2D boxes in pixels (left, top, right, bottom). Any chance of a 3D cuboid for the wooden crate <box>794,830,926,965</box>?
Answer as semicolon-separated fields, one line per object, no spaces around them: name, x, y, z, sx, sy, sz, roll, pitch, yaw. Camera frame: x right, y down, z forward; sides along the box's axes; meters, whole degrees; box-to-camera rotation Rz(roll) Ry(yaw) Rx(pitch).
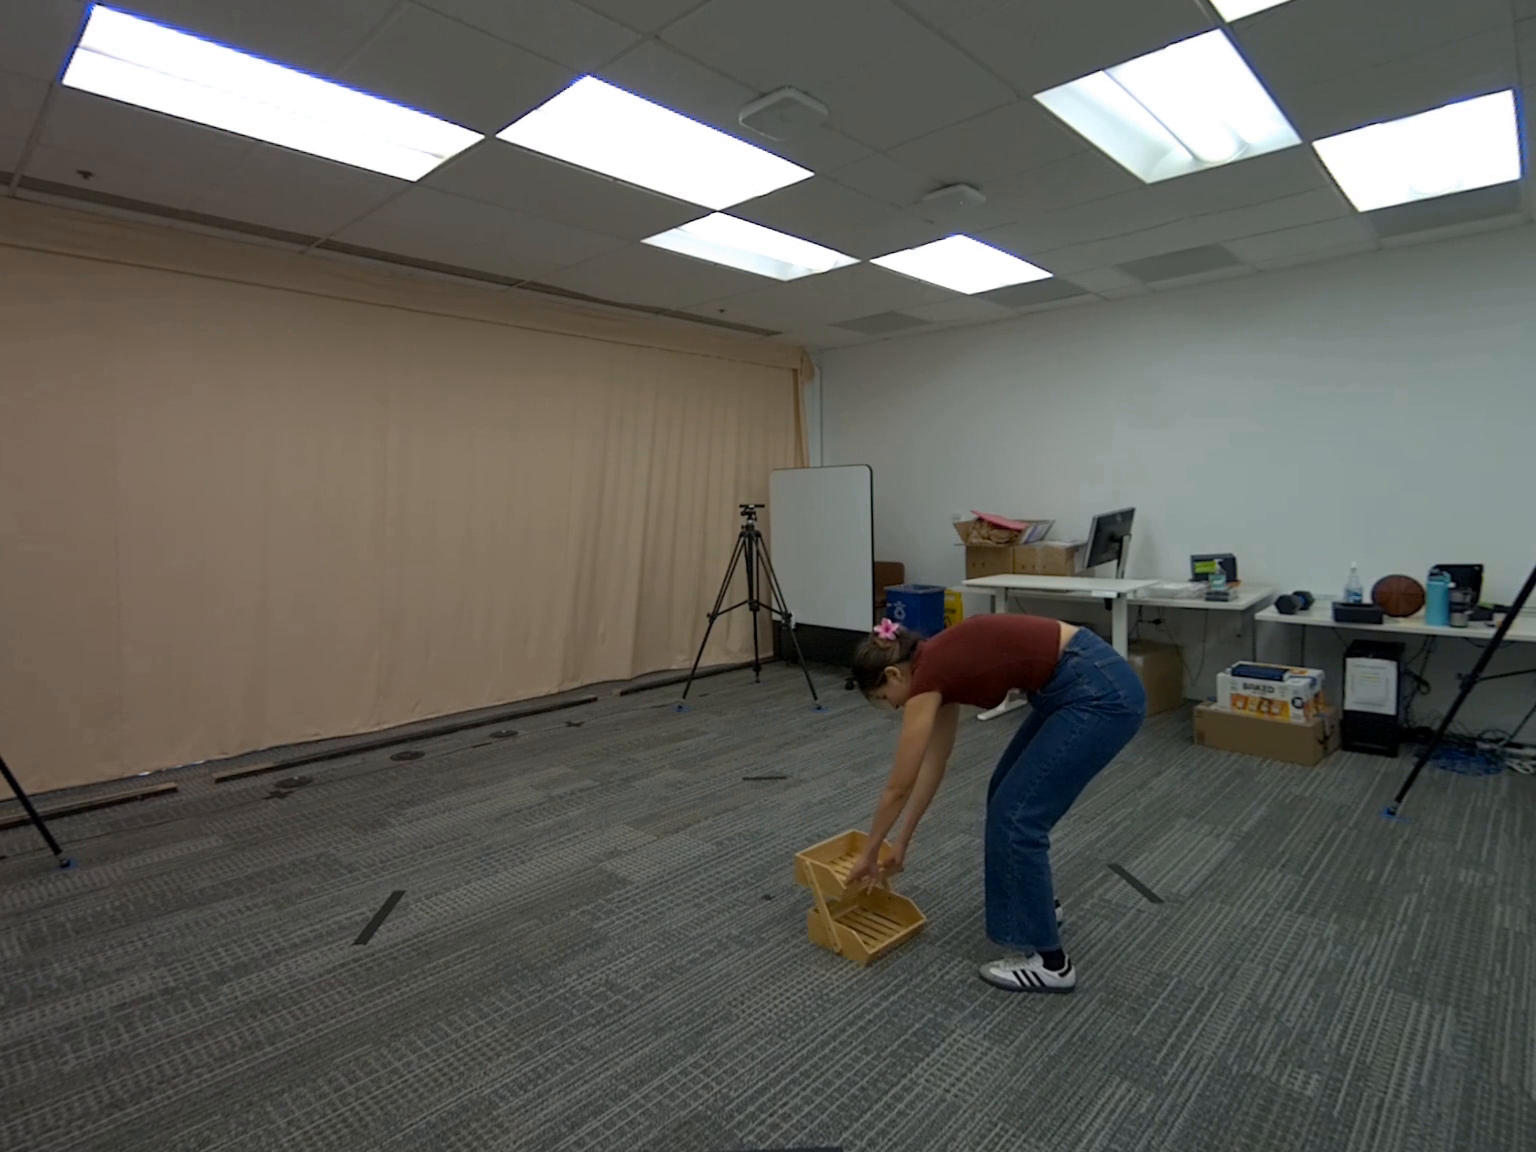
wooden crate;0.307;1.024;2.717;0.315;0.273;0.312;-5;5;-43
